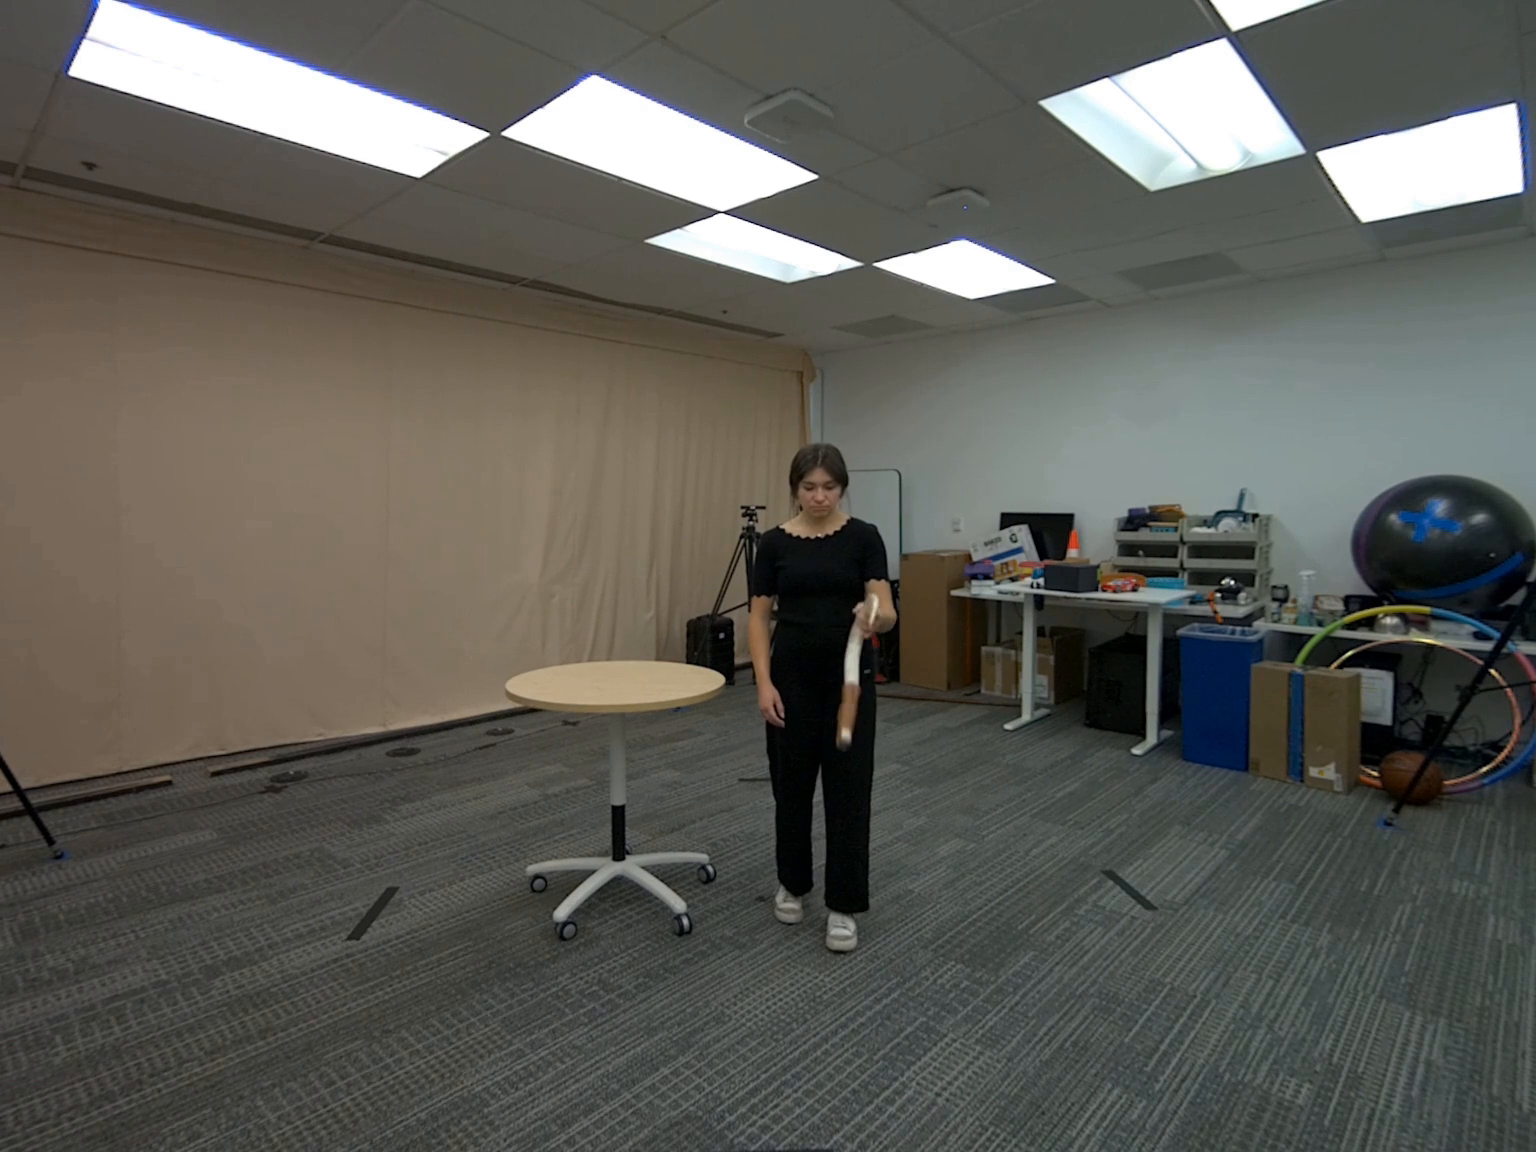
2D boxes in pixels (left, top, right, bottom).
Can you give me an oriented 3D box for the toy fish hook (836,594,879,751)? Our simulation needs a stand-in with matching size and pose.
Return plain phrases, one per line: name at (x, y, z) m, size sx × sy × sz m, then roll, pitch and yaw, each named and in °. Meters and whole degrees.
toy fish hook at (0.229, 0.216, 2.225) m, size 0.049 × 0.221 × 0.508 m, roll 8°, pitch 33°, yaw 9°
